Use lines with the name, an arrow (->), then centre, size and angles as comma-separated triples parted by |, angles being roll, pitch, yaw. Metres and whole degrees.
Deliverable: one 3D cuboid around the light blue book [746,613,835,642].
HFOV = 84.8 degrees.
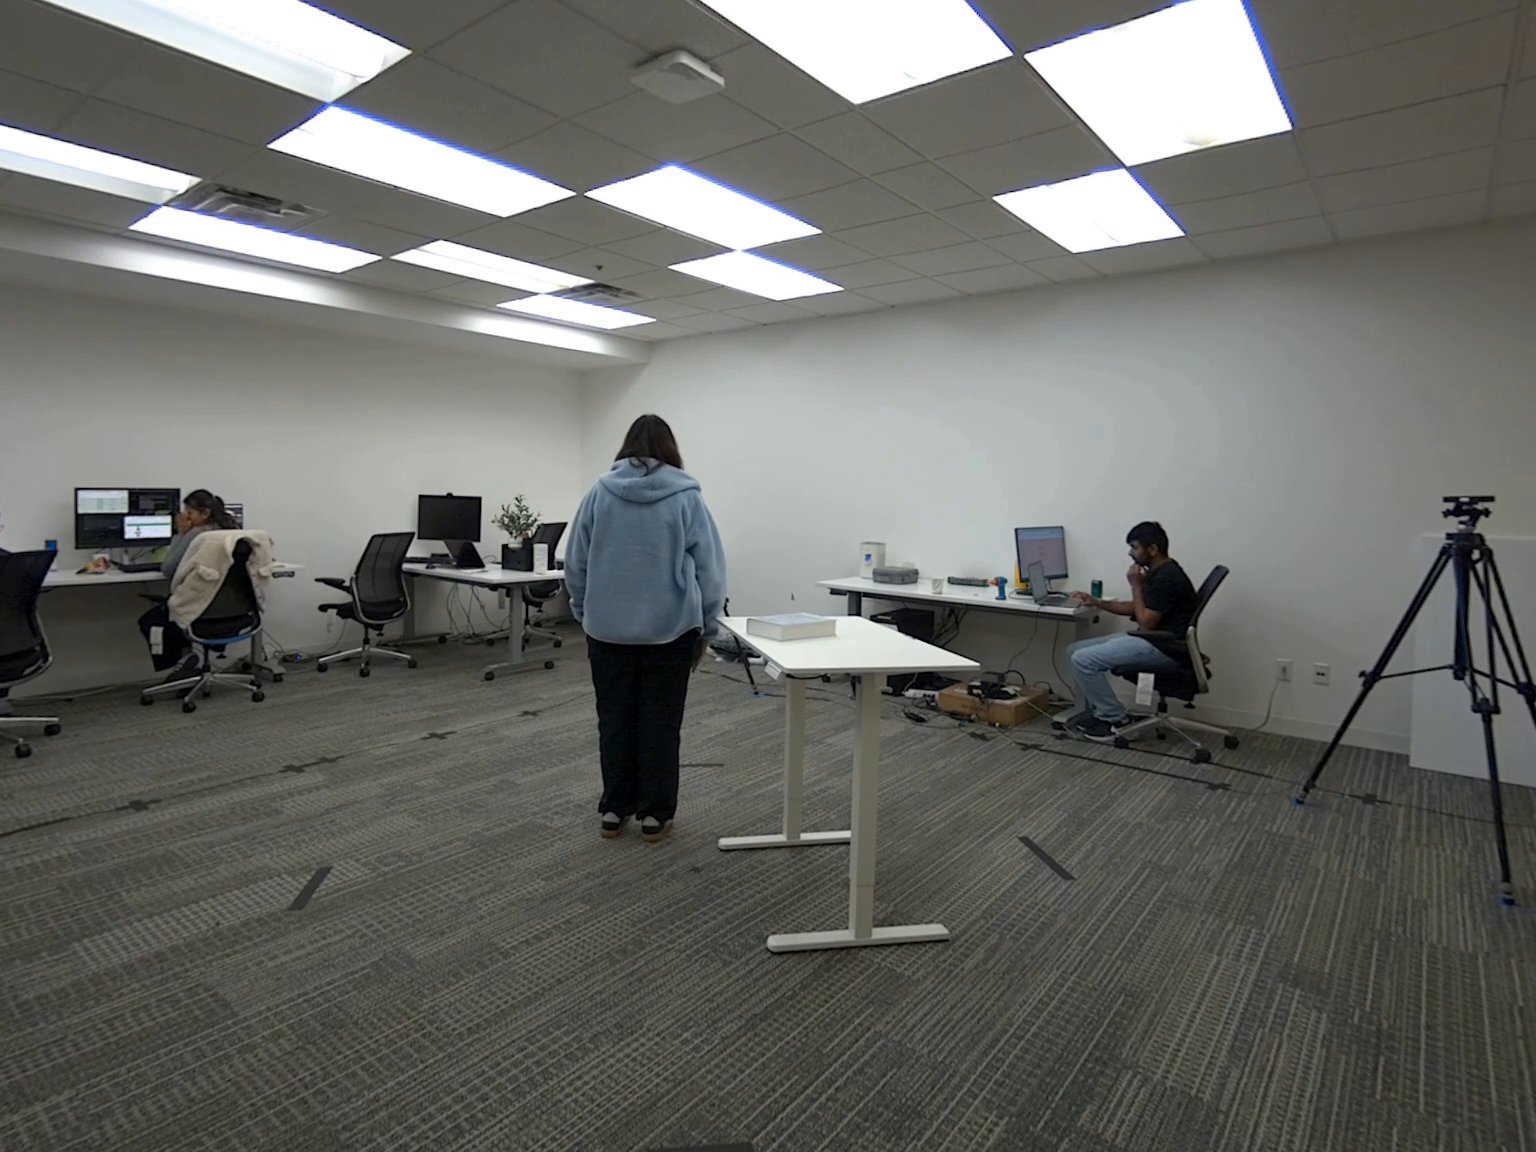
light blue book -> 0.093, 0.175, 2.994 | 0.253, 0.059, 0.198 | -3, 7, -39
